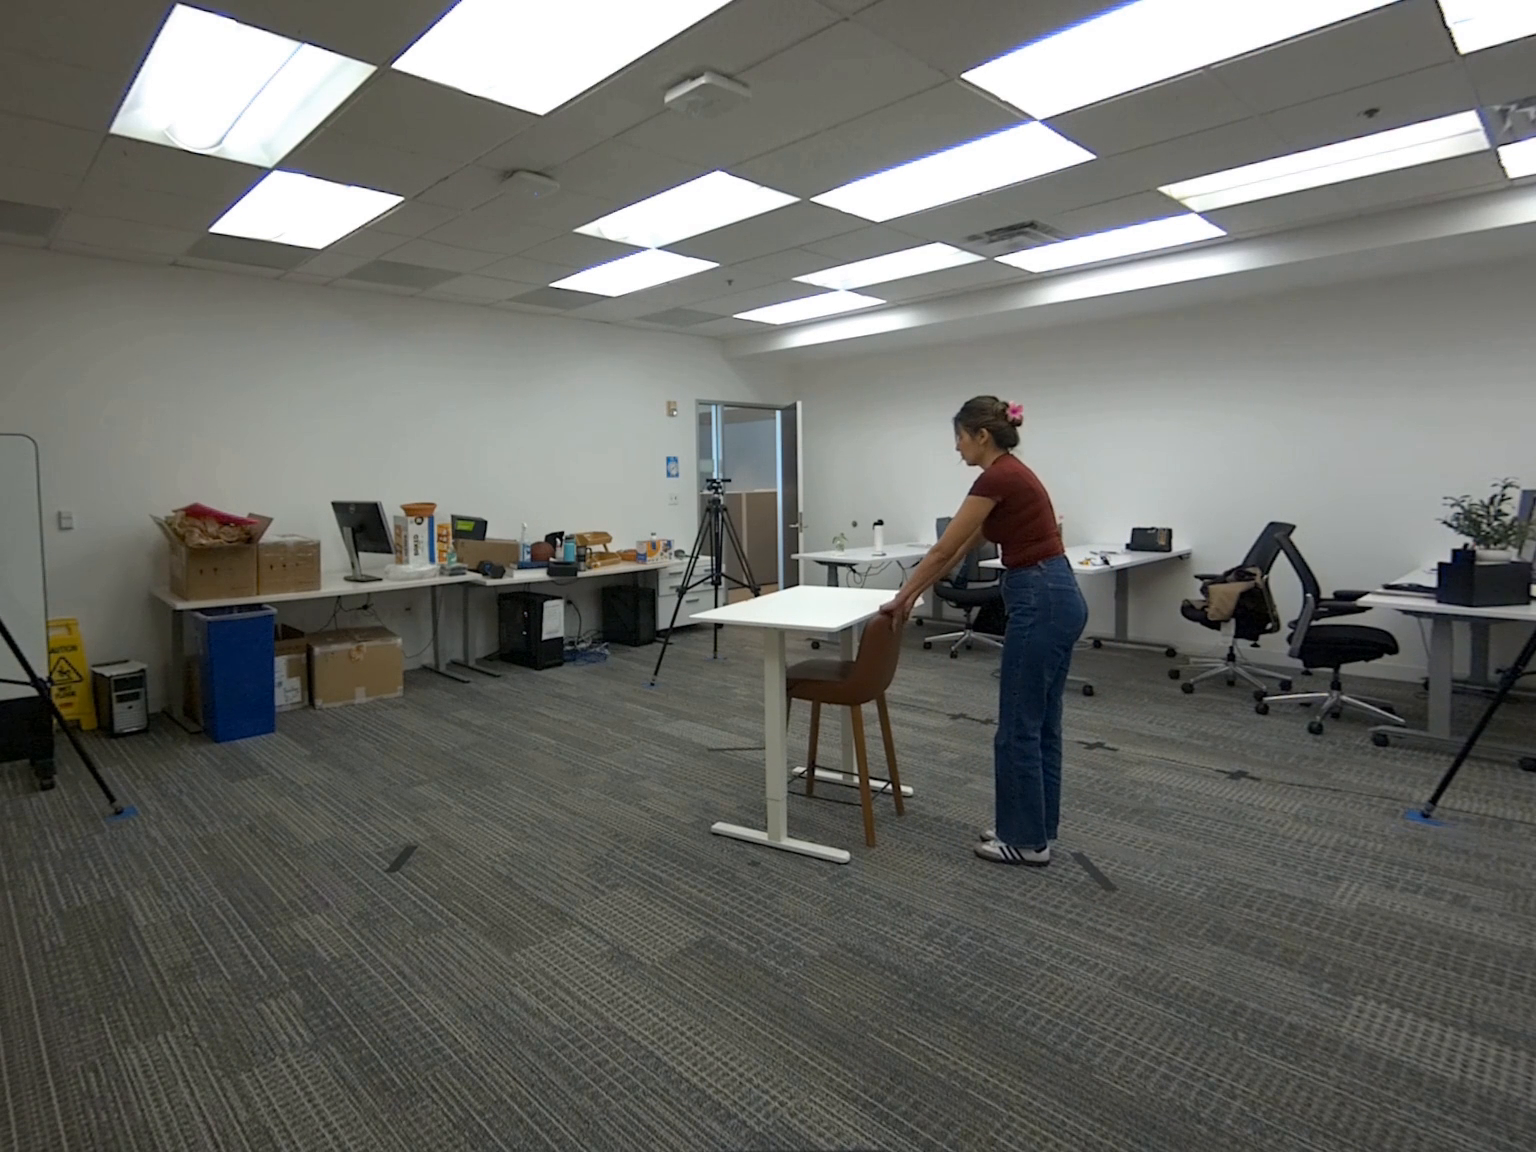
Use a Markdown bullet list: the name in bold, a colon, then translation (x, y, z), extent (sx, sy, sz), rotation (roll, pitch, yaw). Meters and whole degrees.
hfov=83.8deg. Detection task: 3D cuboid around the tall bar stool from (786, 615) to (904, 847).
- **tall bar stool**: translation (0.290, 0.568, 3.472), extent (0.480, 0.886, 0.447), rotation (4, 6, 28)
